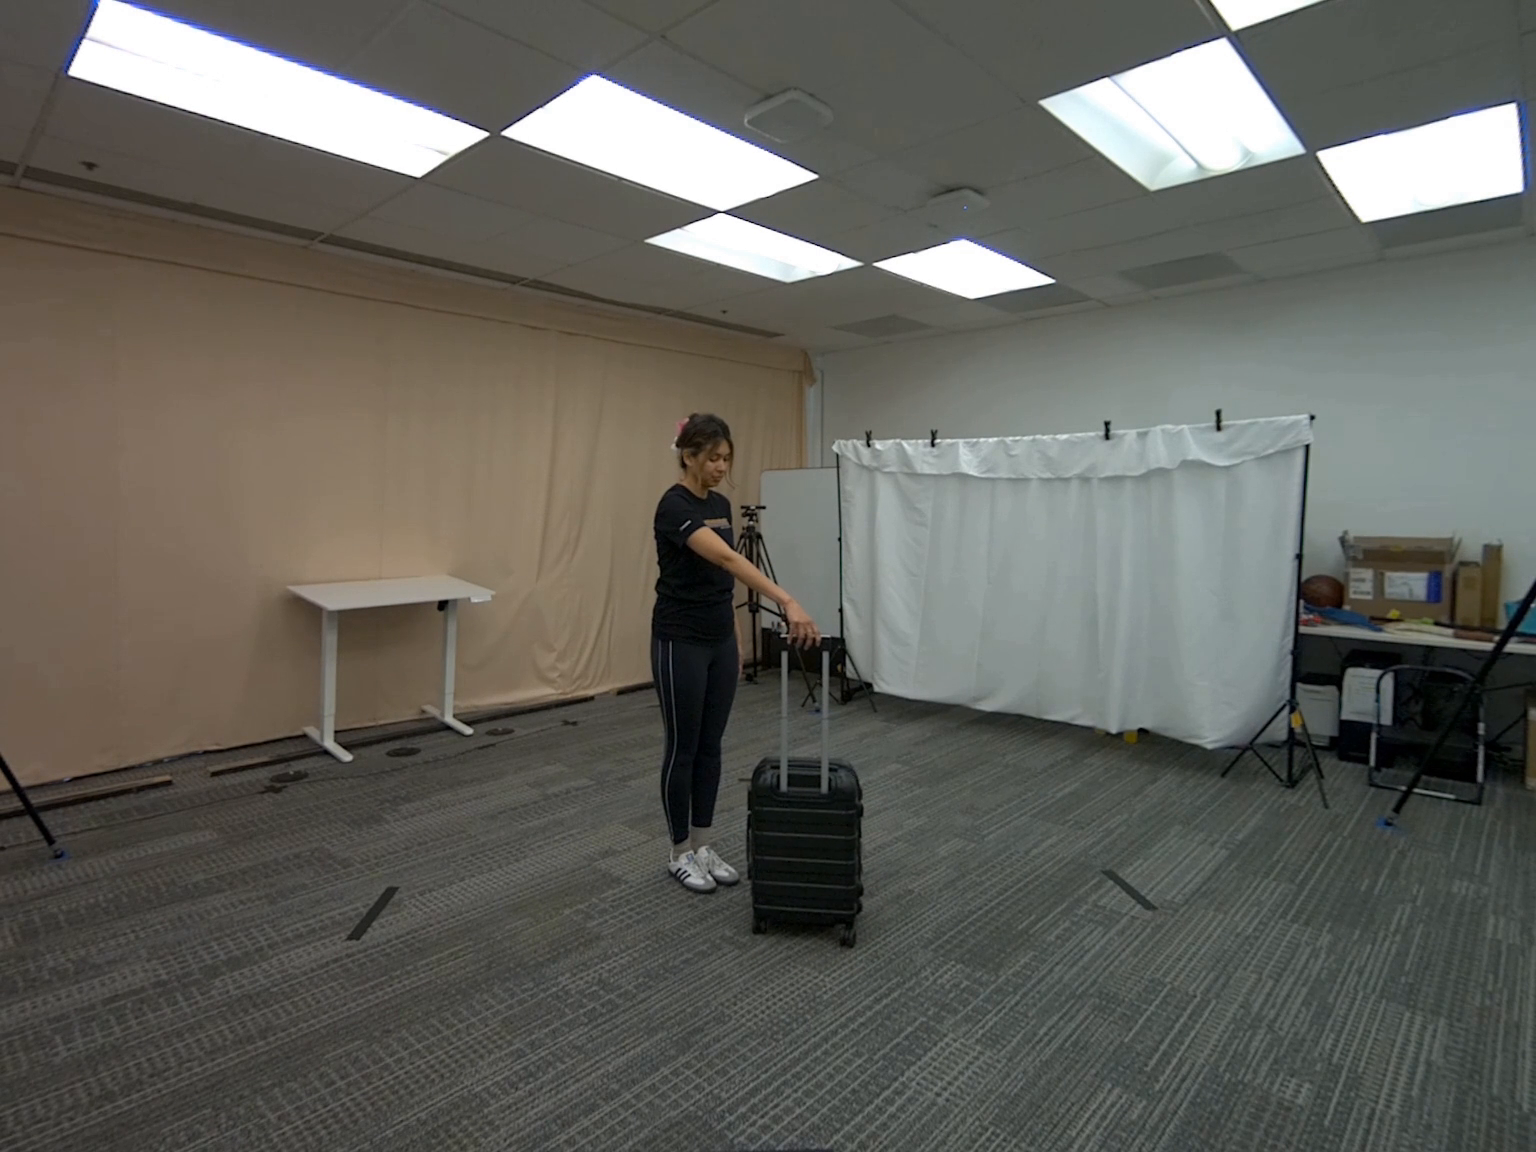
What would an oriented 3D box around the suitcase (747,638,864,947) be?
[{"bbox_3d":[0.125,0.686,2.787,0.388,0.977,0.255,0,2,8],"label":"suitcase"}]
